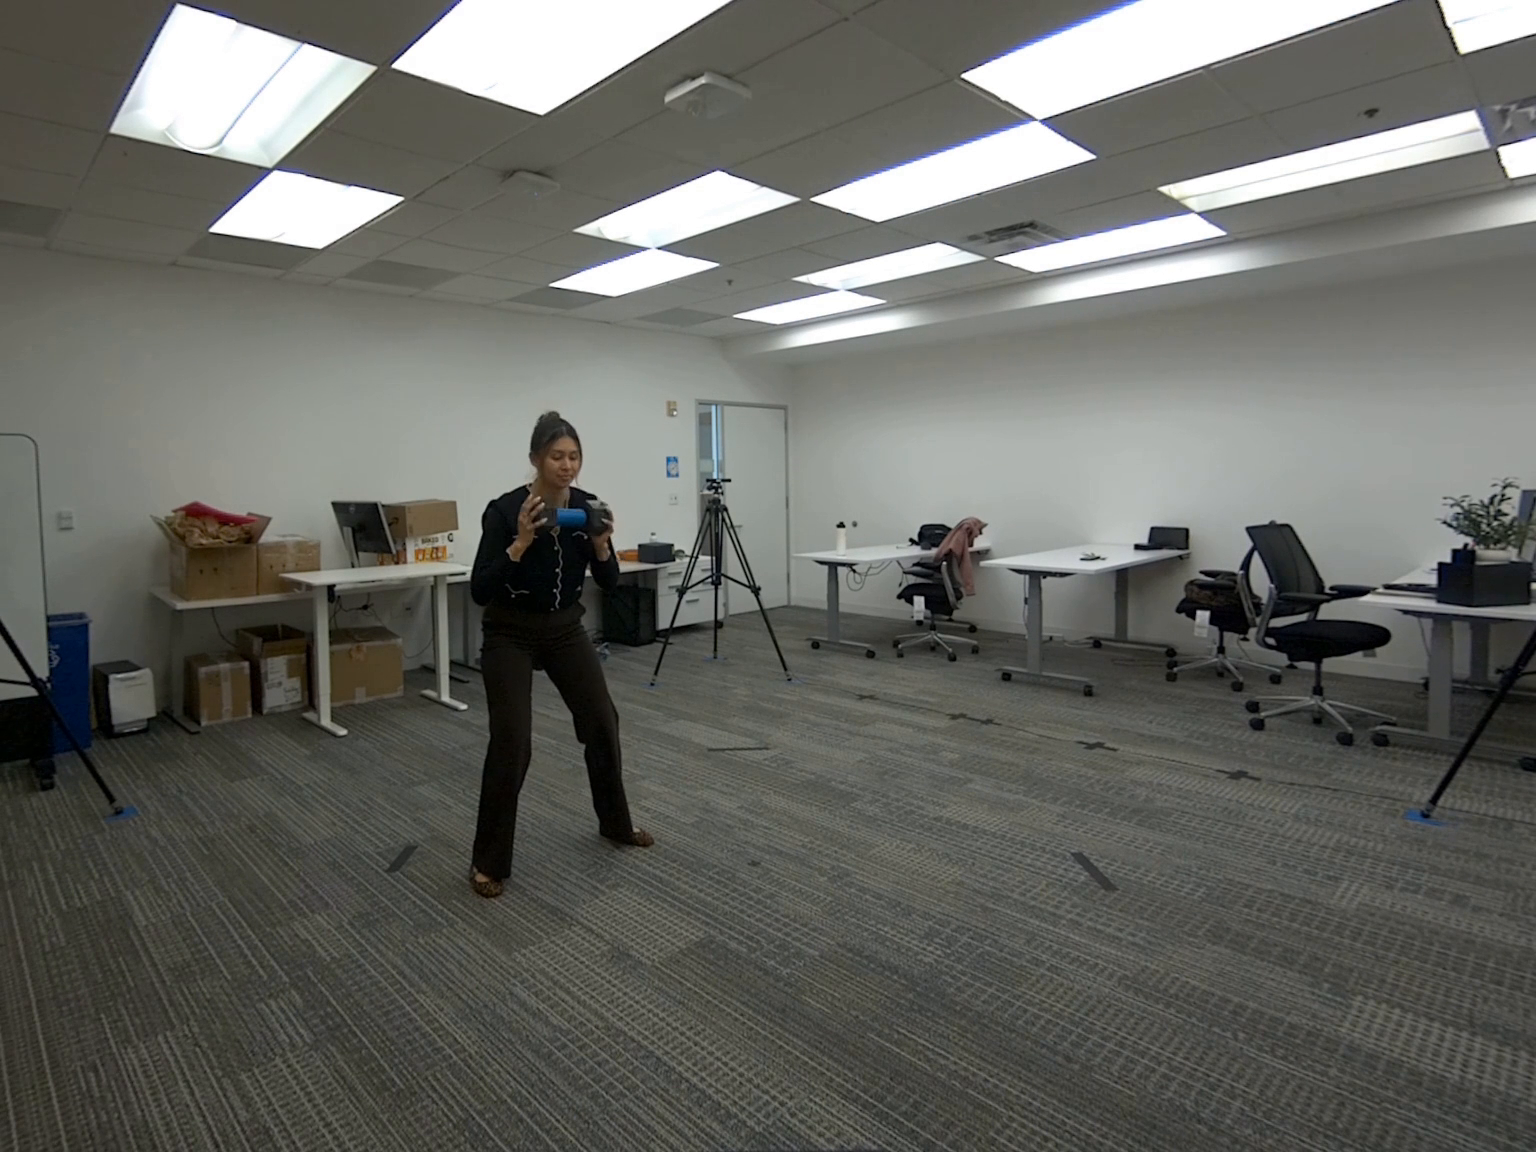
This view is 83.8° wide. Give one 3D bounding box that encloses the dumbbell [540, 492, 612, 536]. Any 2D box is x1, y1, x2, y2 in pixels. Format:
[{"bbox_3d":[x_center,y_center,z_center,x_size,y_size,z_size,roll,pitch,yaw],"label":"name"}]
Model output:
[{"bbox_3d":[-0.710,-0.186,2.949,0.112,0.123,0.285,-4,-3,44],"label":"dumbbell"}]
